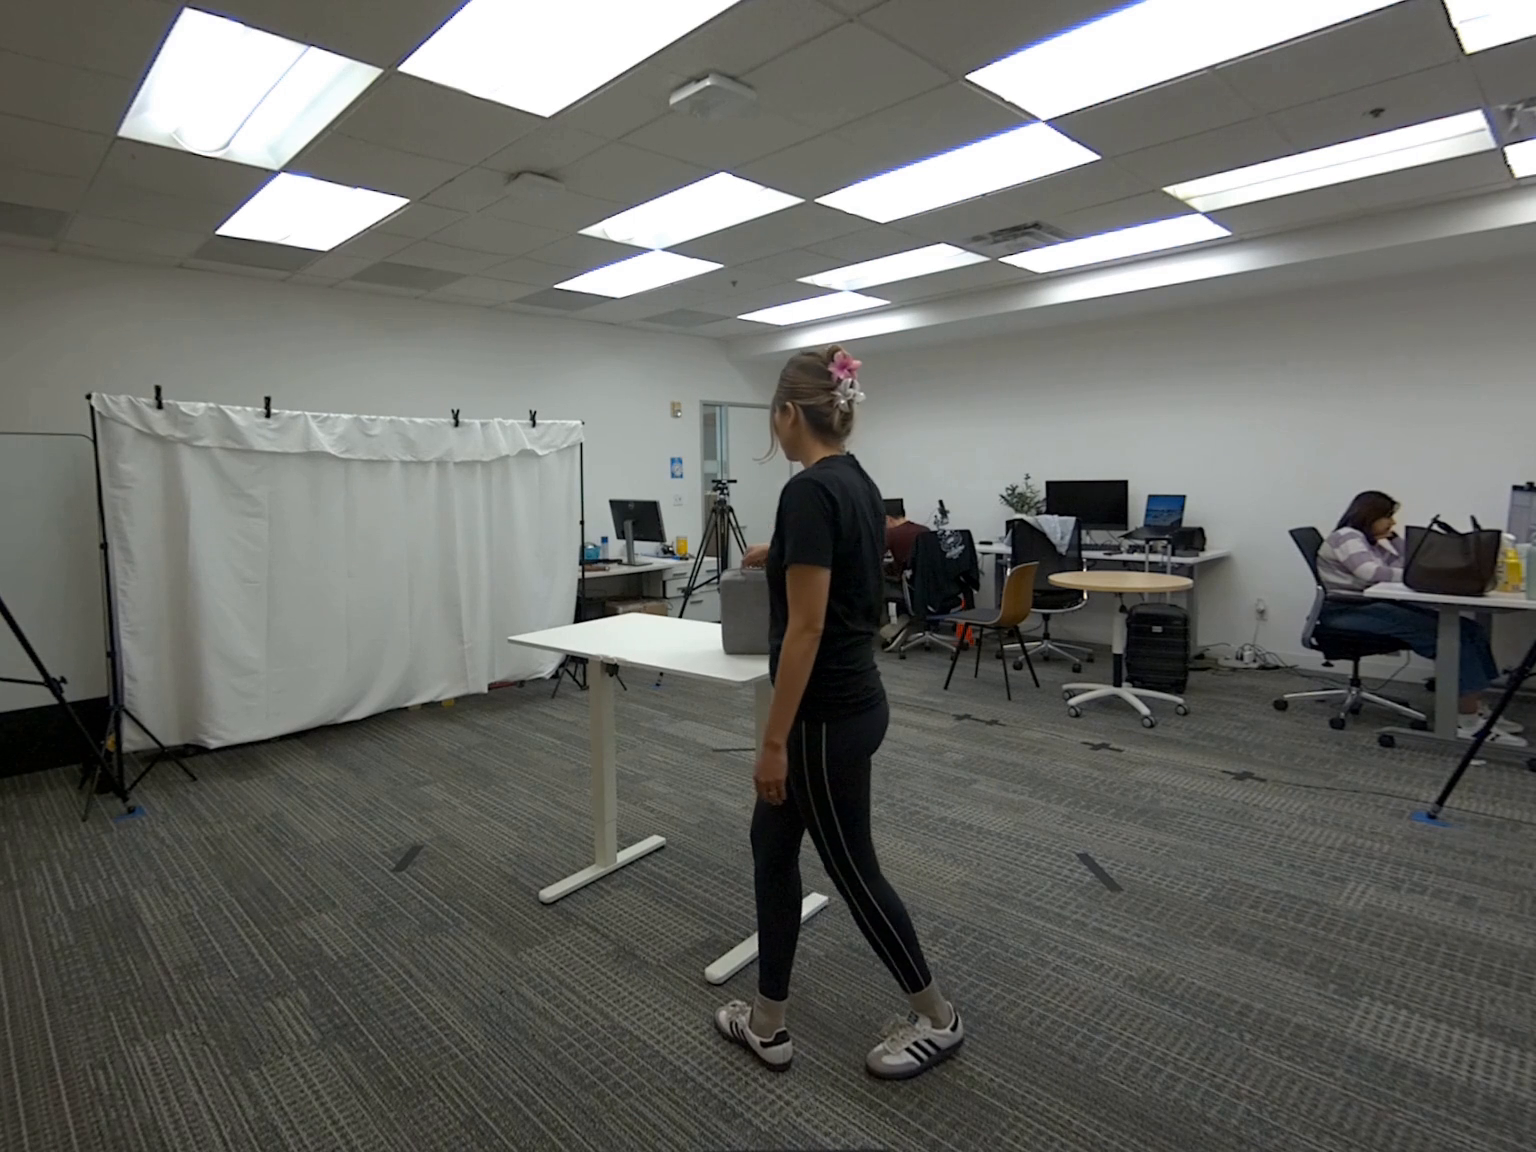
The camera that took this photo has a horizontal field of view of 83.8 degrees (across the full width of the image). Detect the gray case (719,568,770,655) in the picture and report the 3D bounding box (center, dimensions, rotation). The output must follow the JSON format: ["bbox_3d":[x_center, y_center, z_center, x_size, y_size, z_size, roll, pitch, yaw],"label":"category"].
[{"bbox_3d":[-0.006,0.099,2.533,0.259,0.257,0.105,-1,15,8],"label":"gray case"}]
